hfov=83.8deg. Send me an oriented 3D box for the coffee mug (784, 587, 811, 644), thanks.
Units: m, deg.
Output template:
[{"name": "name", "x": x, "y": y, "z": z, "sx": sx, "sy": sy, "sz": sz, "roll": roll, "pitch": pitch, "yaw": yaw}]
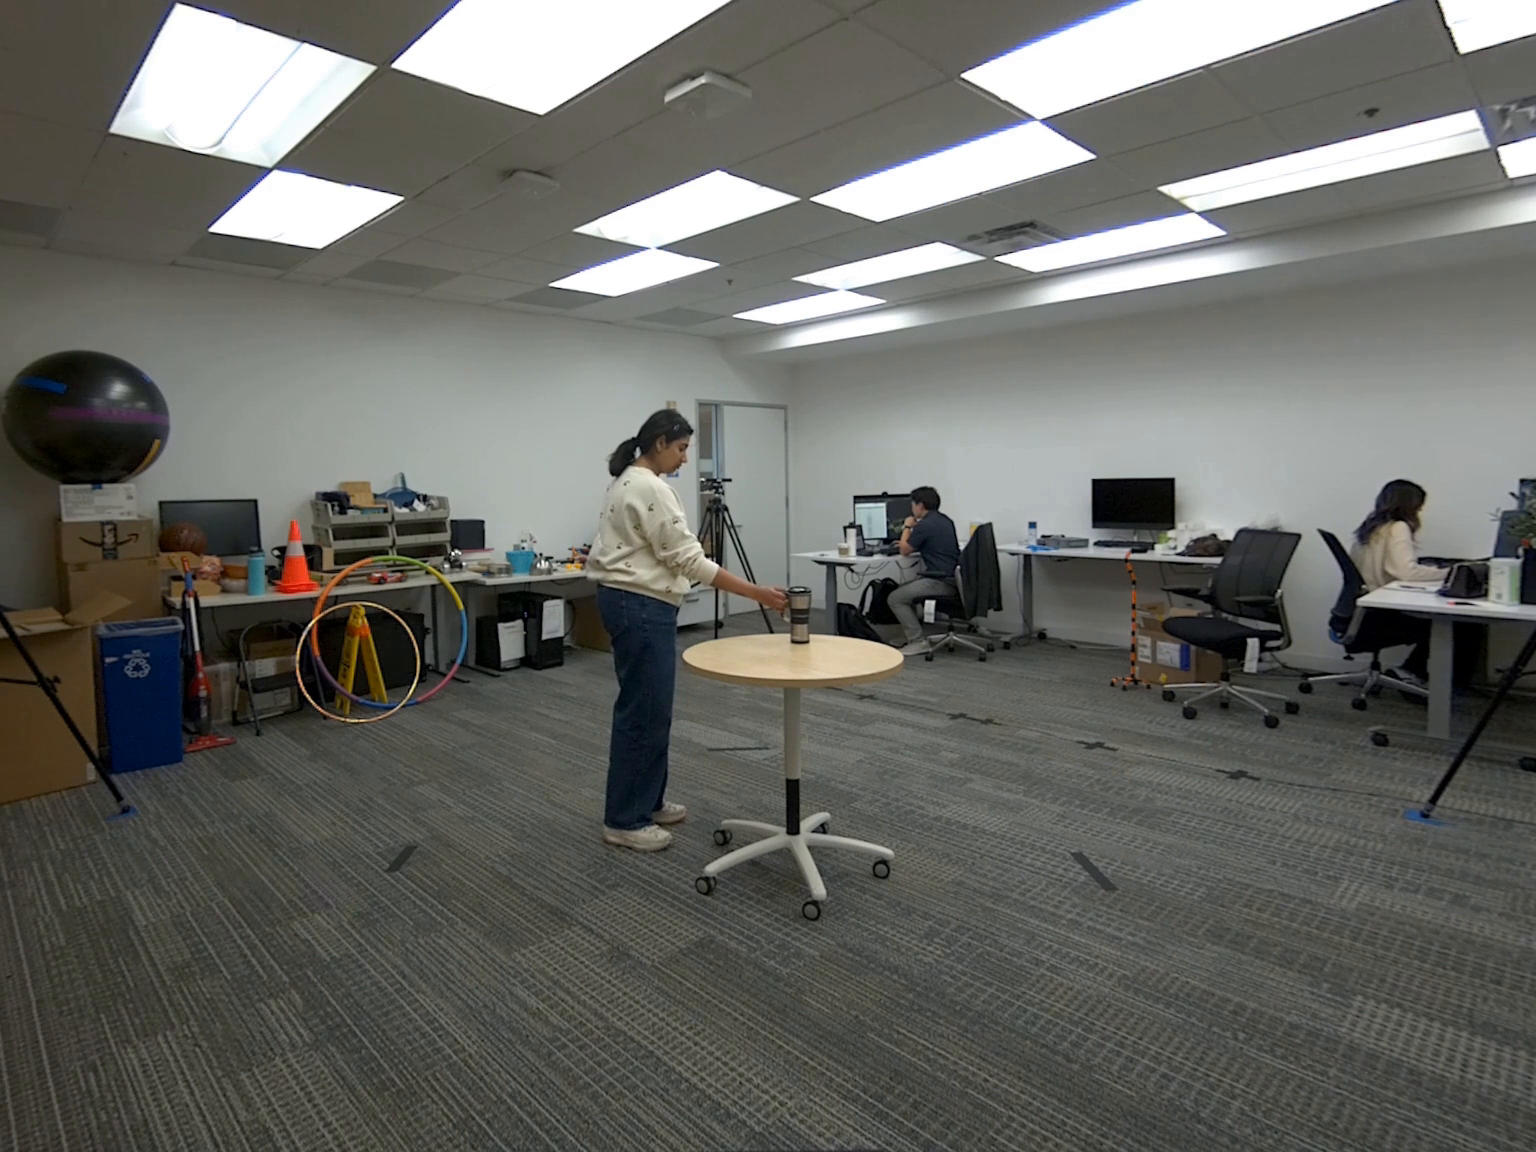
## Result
[{"name": "coffee mug", "x": 0.105, "y": 0.149, "z": 3.201, "sx": 0.086, "sy": 0.201, "sz": 0.125, "roll": -8, "pitch": 10, "yaw": -31}]
